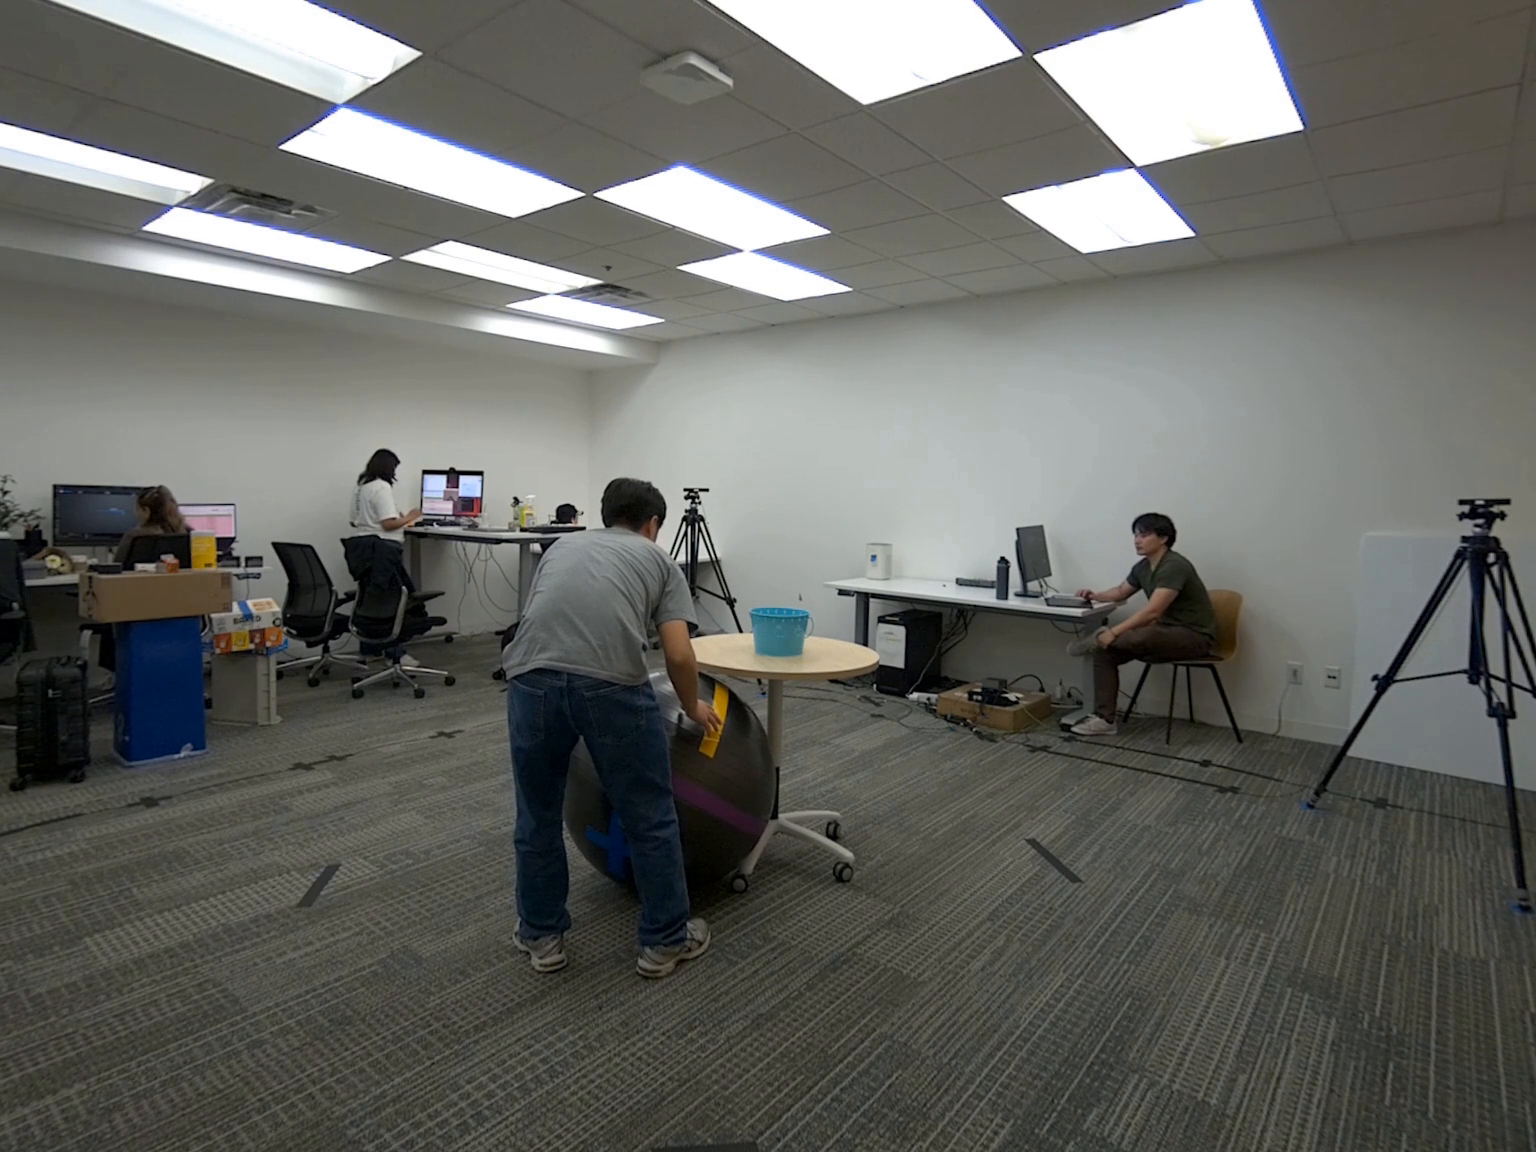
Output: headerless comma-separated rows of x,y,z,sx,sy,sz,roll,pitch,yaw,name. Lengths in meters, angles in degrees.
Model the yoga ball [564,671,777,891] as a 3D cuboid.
-0.381,0.711,2.980,0.757,0.755,0.762,1,4,-2,yoga ball
